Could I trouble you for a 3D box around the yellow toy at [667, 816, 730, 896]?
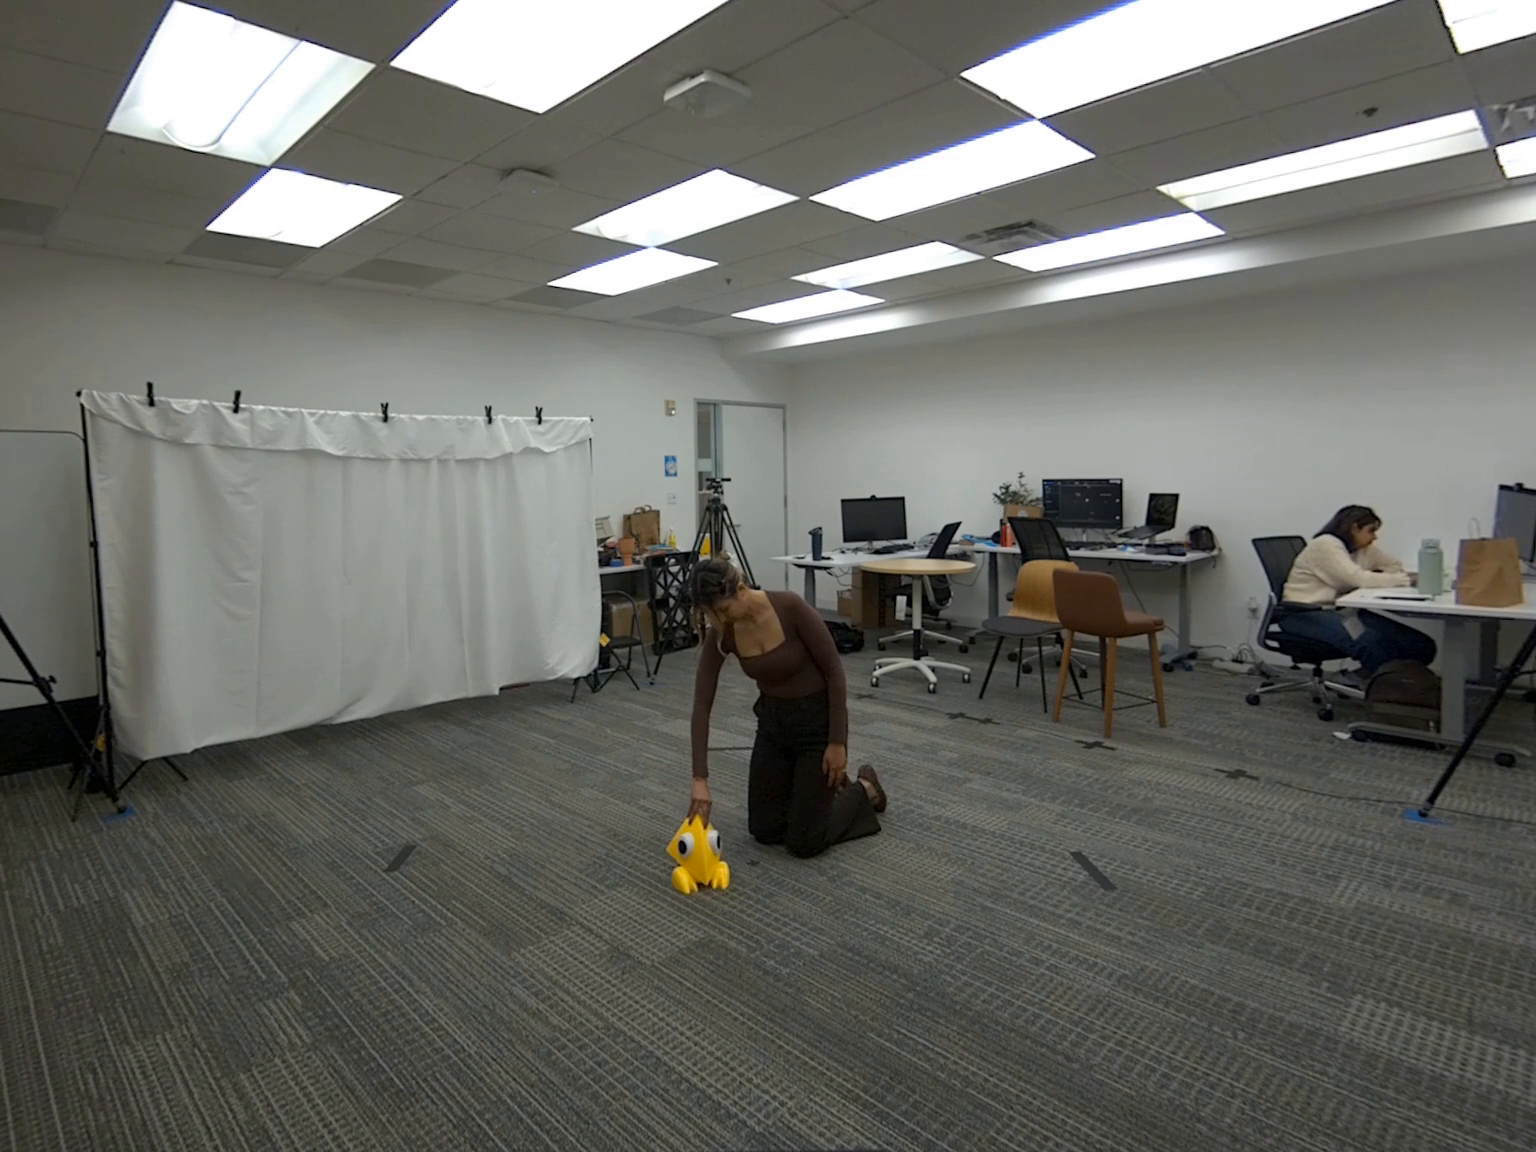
[{"bbox_3d":[-0.236,0.947,2.976,0.202,0.230,0.196,-2,4,-15],"label":"yellow toy"}]
